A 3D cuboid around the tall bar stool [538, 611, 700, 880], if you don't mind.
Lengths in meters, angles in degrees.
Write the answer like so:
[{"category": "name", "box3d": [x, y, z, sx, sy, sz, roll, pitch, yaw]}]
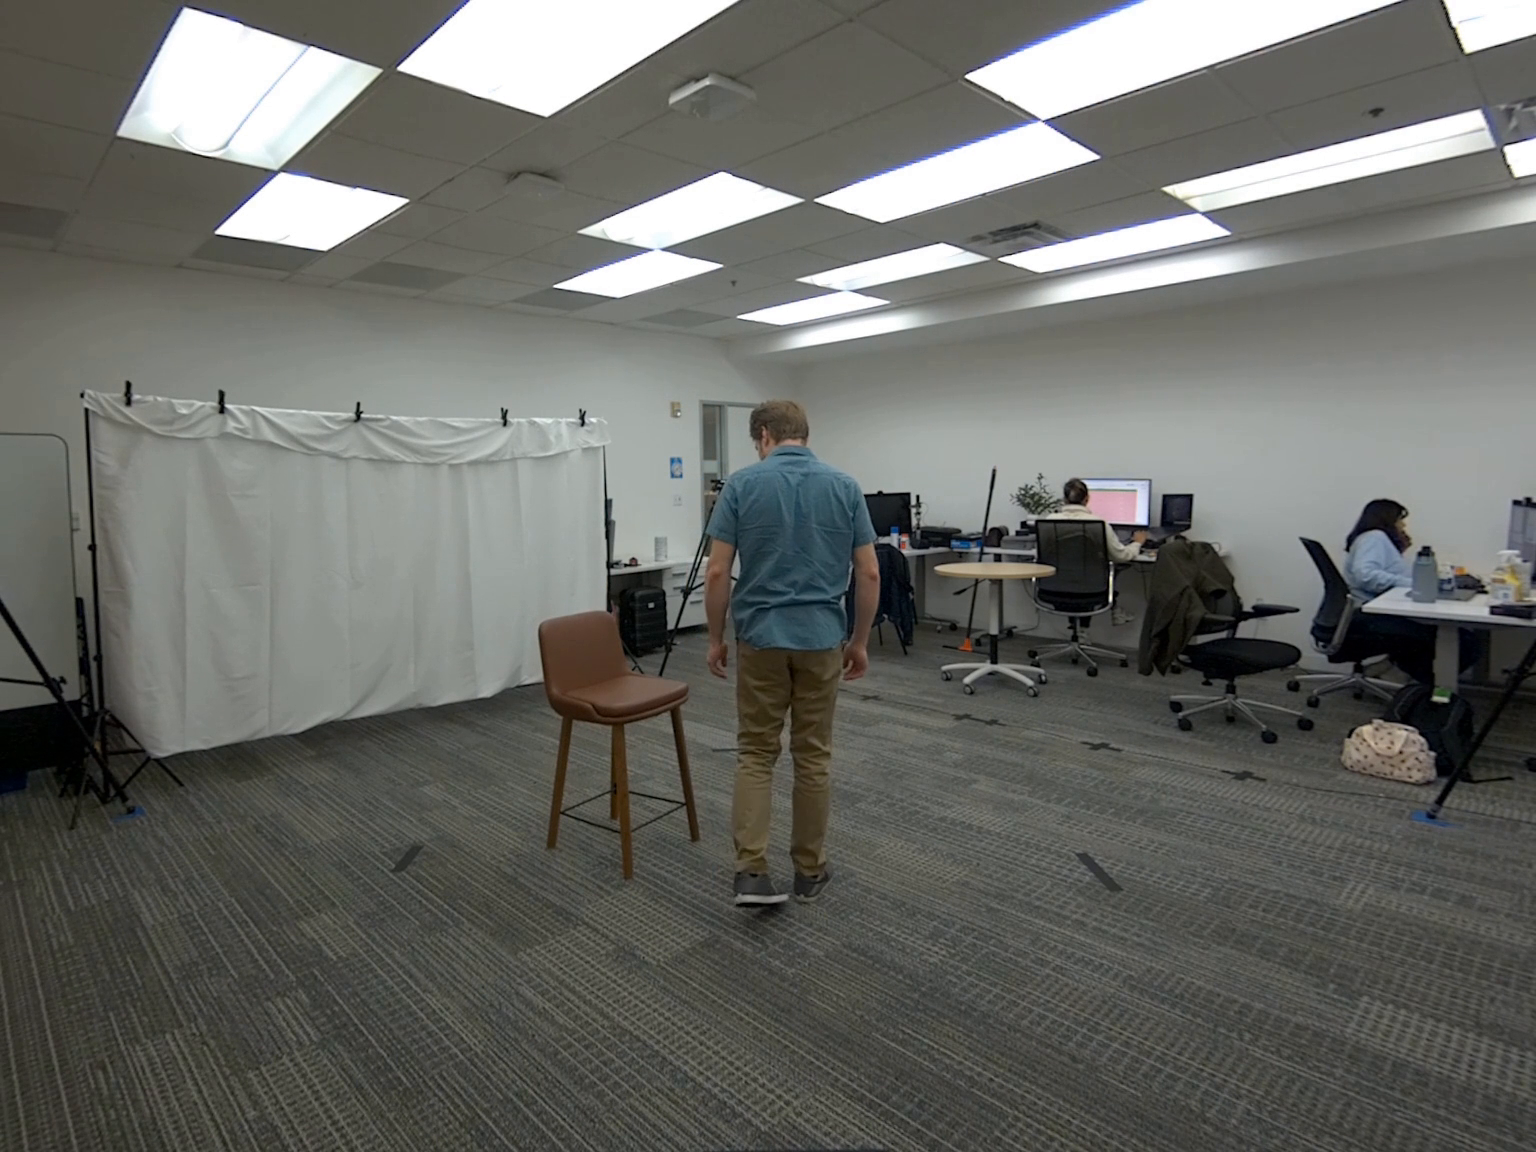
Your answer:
[{"category": "tall bar stool", "box3d": [-0.574, 0.603, 3.282, 0.480, 0.888, 0.445, -1, 3, 36]}]
